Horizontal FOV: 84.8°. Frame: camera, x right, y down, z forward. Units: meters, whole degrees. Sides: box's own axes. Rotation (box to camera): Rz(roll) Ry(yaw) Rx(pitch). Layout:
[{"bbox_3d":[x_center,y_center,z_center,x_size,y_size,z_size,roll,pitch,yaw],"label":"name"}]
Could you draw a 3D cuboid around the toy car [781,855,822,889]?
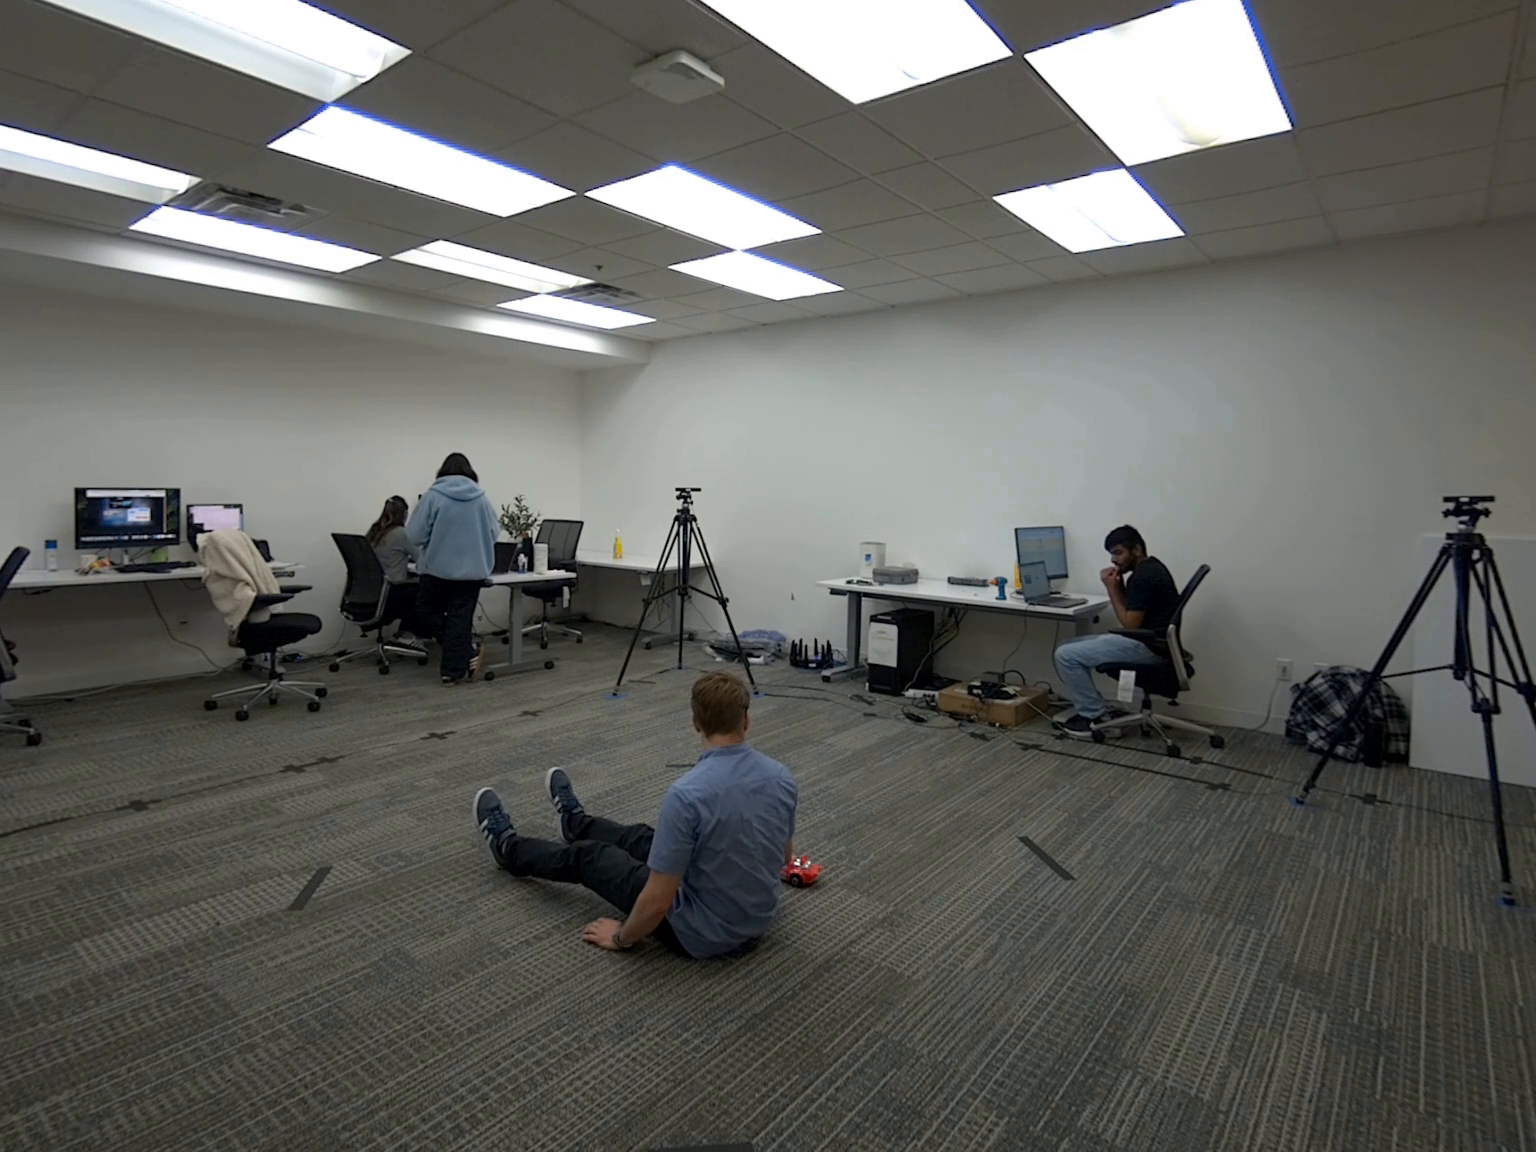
[{"bbox_3d":[0.071,1.051,3.047,0.260,0.083,0.127,-9,-1,25],"label":"toy car"}]
